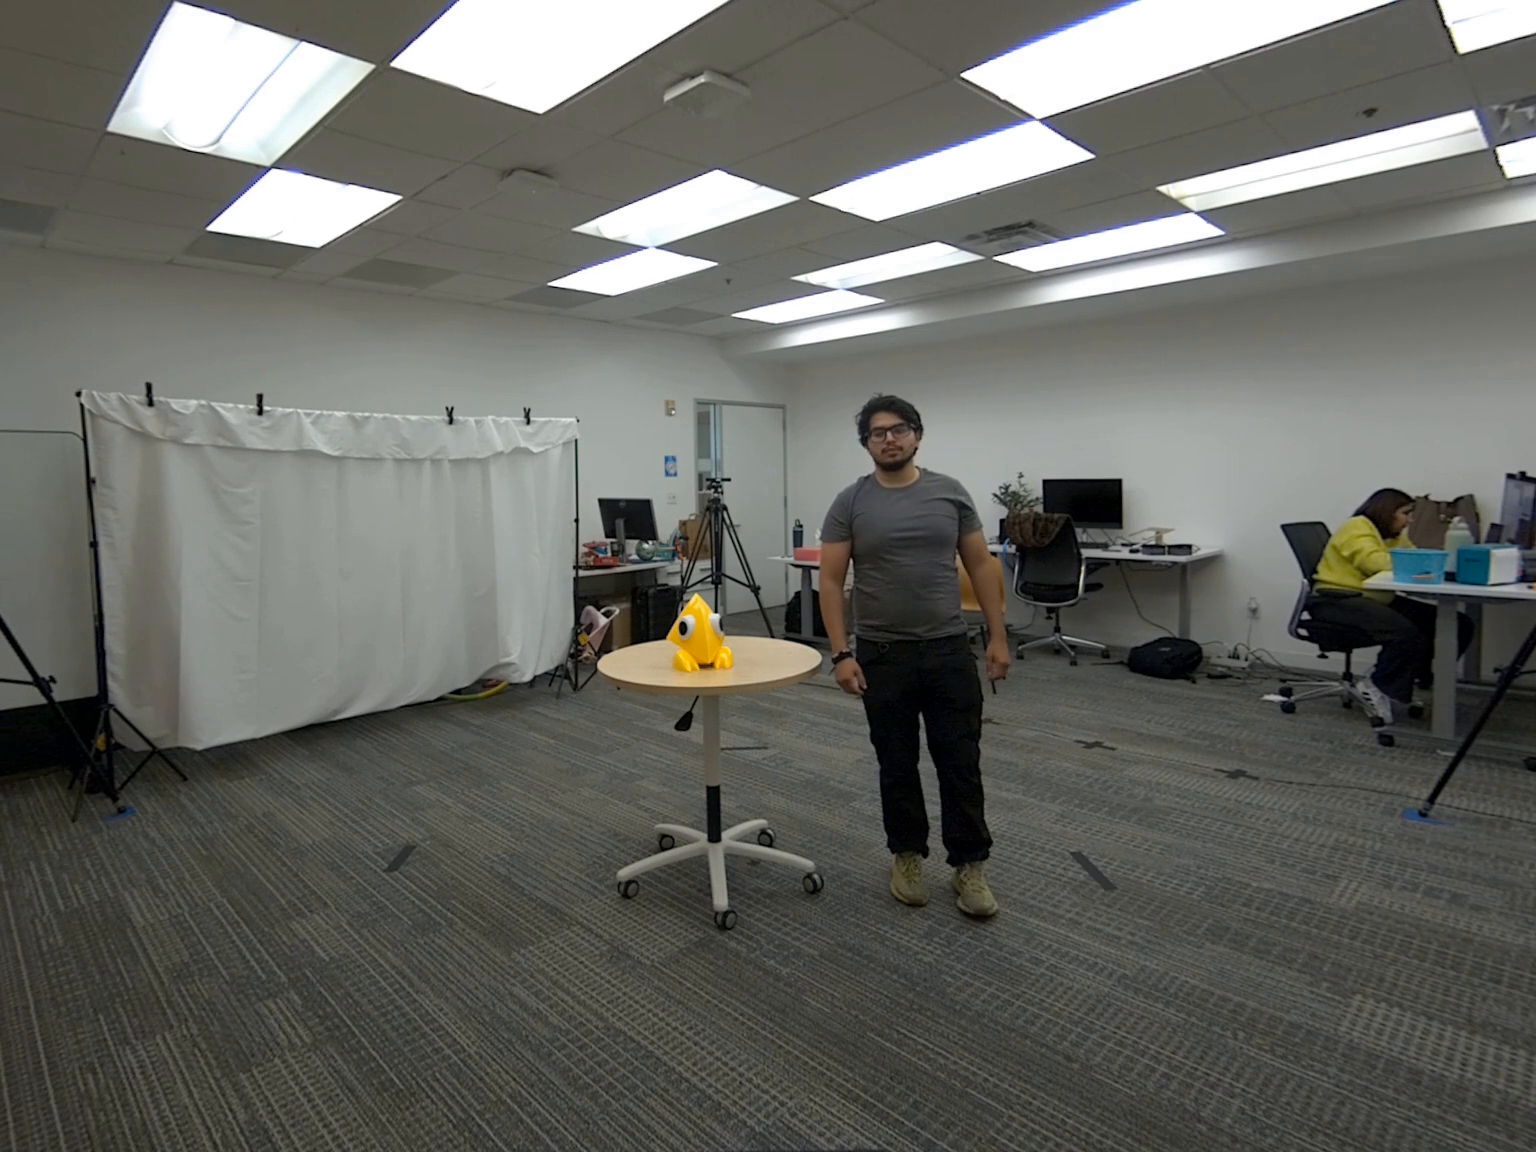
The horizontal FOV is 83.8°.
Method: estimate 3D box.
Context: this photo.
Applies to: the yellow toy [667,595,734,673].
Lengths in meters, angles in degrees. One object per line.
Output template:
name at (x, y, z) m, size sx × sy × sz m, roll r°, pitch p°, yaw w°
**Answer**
yellow toy at (-0.216, 0.176, 2.837) m, size 0.202 × 0.230 × 0.196 m, roll -3°, pitch 4°, yaw -17°
